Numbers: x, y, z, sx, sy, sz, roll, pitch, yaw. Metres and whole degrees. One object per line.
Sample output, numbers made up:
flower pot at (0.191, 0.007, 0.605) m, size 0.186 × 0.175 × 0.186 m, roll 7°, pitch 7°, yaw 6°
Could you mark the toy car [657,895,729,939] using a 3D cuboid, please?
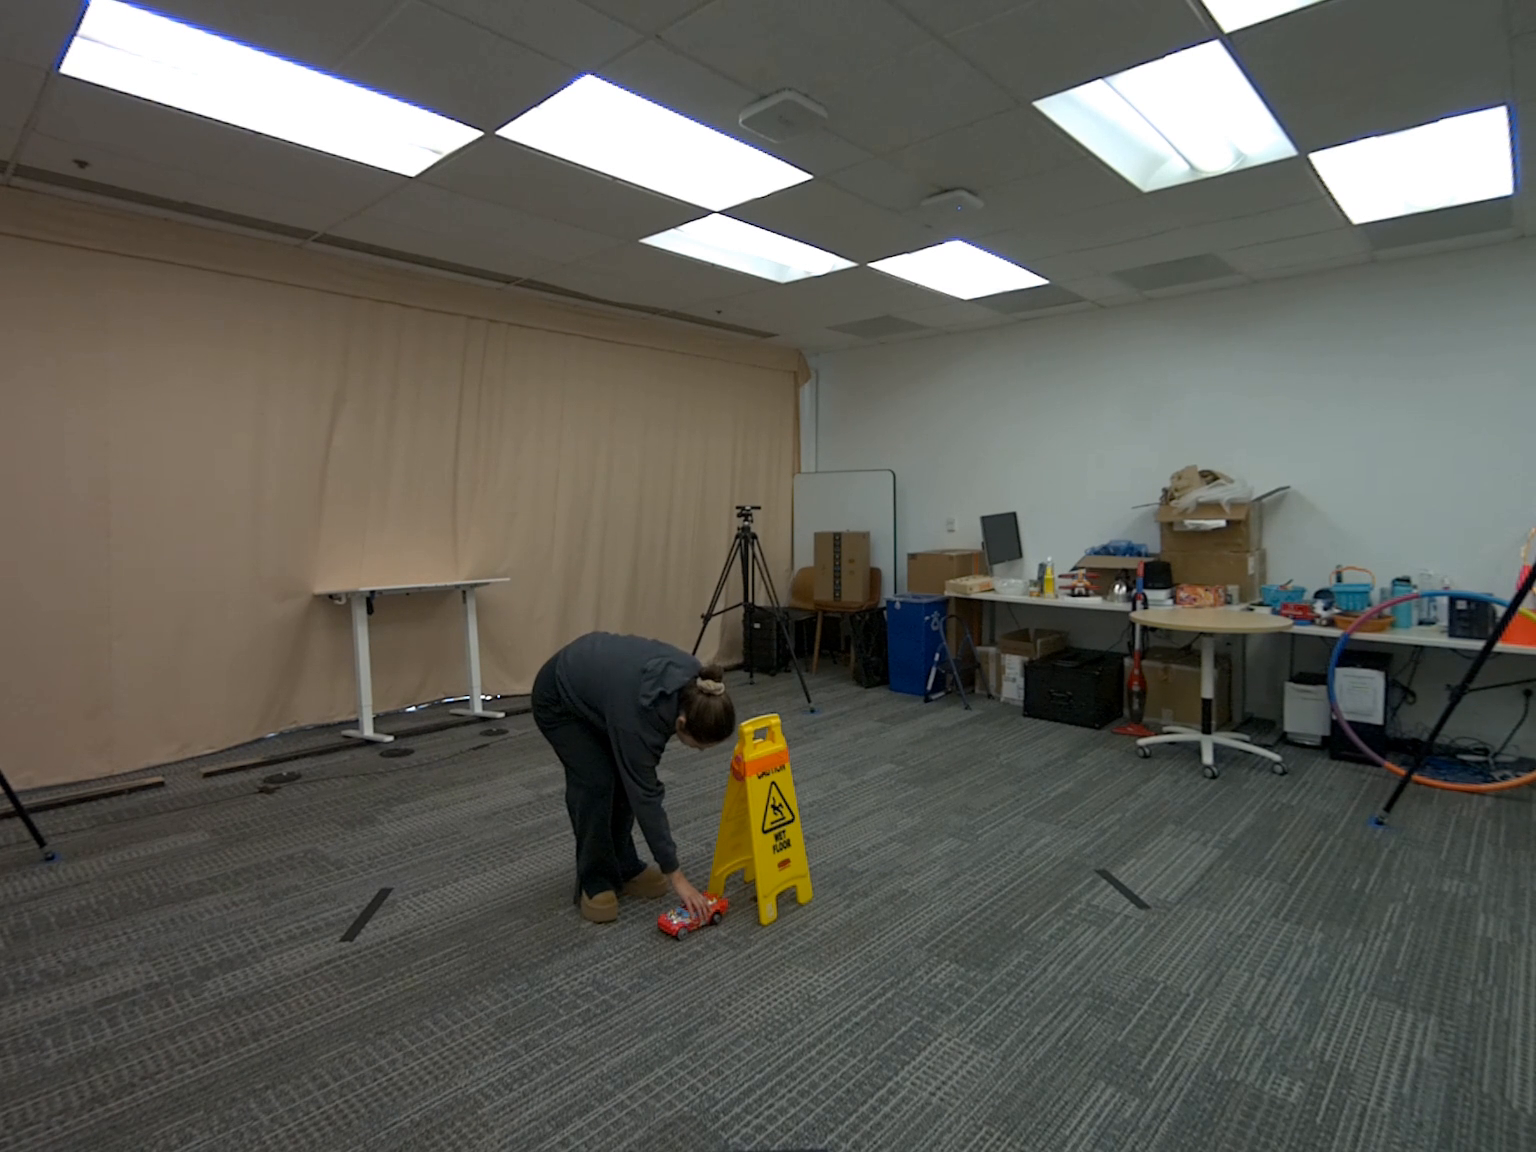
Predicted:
toy car at (-0.229, 1.136, 2.798) m, size 0.248 × 0.082 × 0.134 m, roll -18°, pitch 12°, yaw -40°
